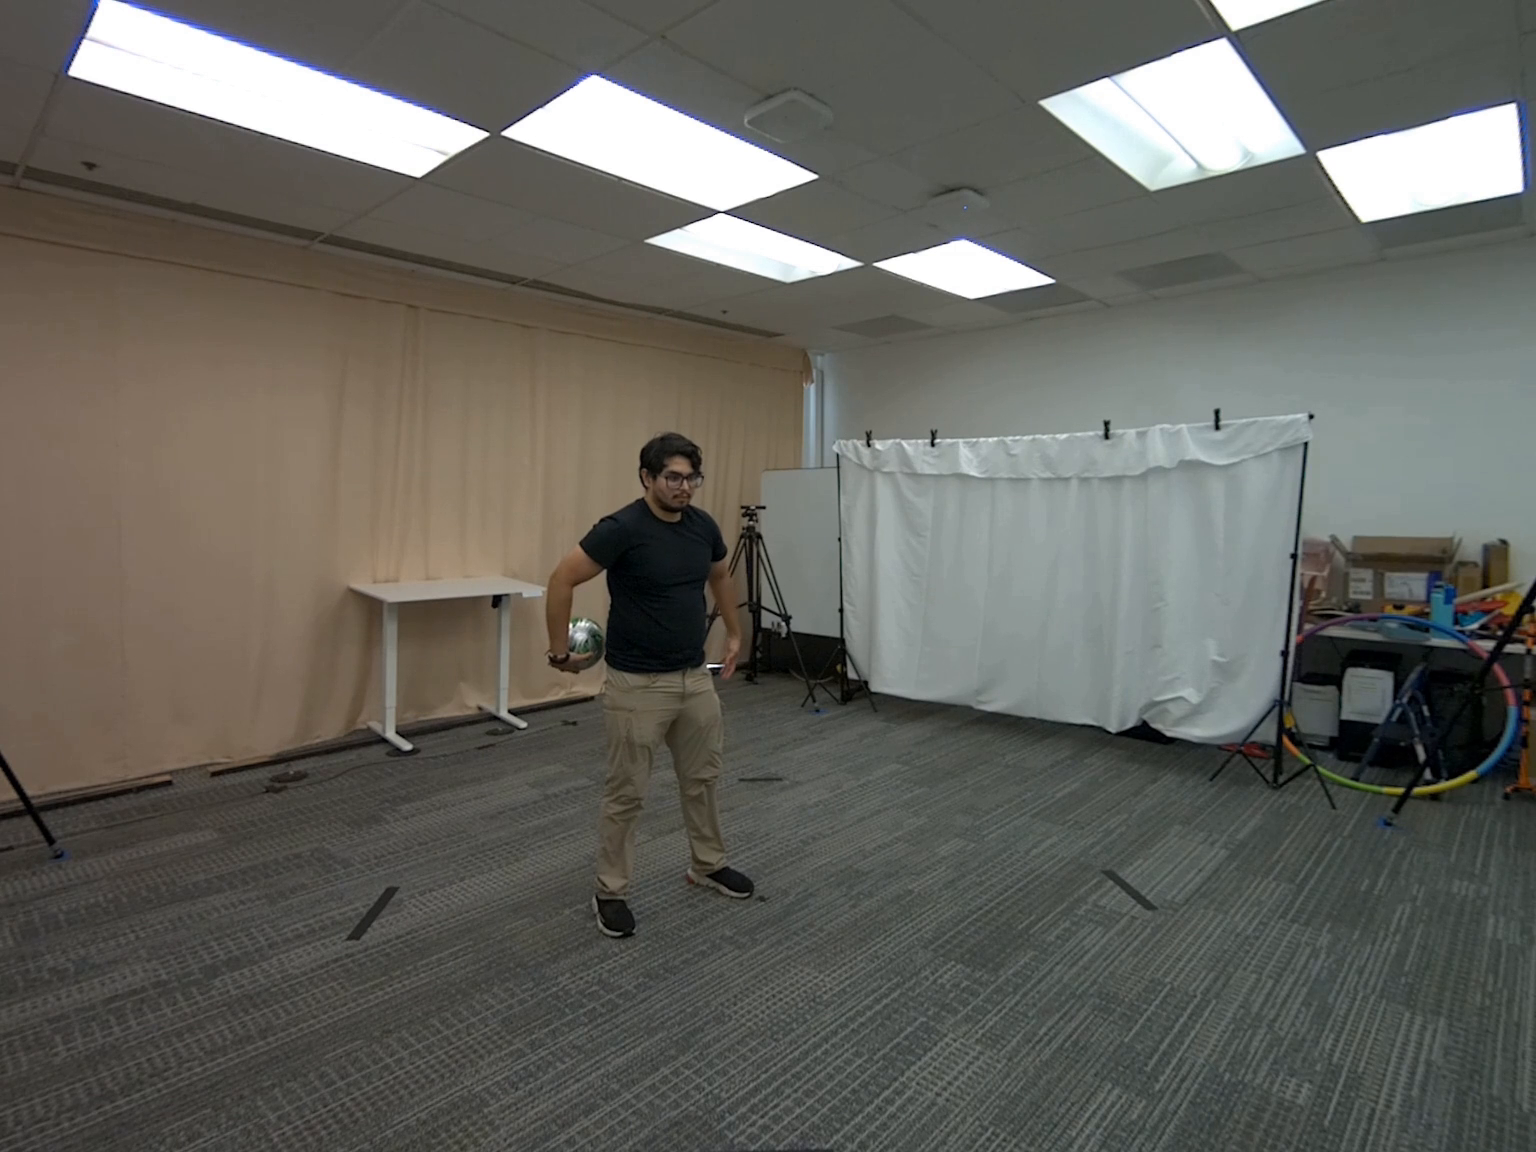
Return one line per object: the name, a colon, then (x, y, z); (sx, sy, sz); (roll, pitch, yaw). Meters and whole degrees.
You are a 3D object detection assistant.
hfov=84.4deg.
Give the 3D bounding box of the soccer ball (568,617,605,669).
soccer ball: (-0.654, 0.235, 2.924); (0.187, 0.187, 0.188); (0, 4, -2)
